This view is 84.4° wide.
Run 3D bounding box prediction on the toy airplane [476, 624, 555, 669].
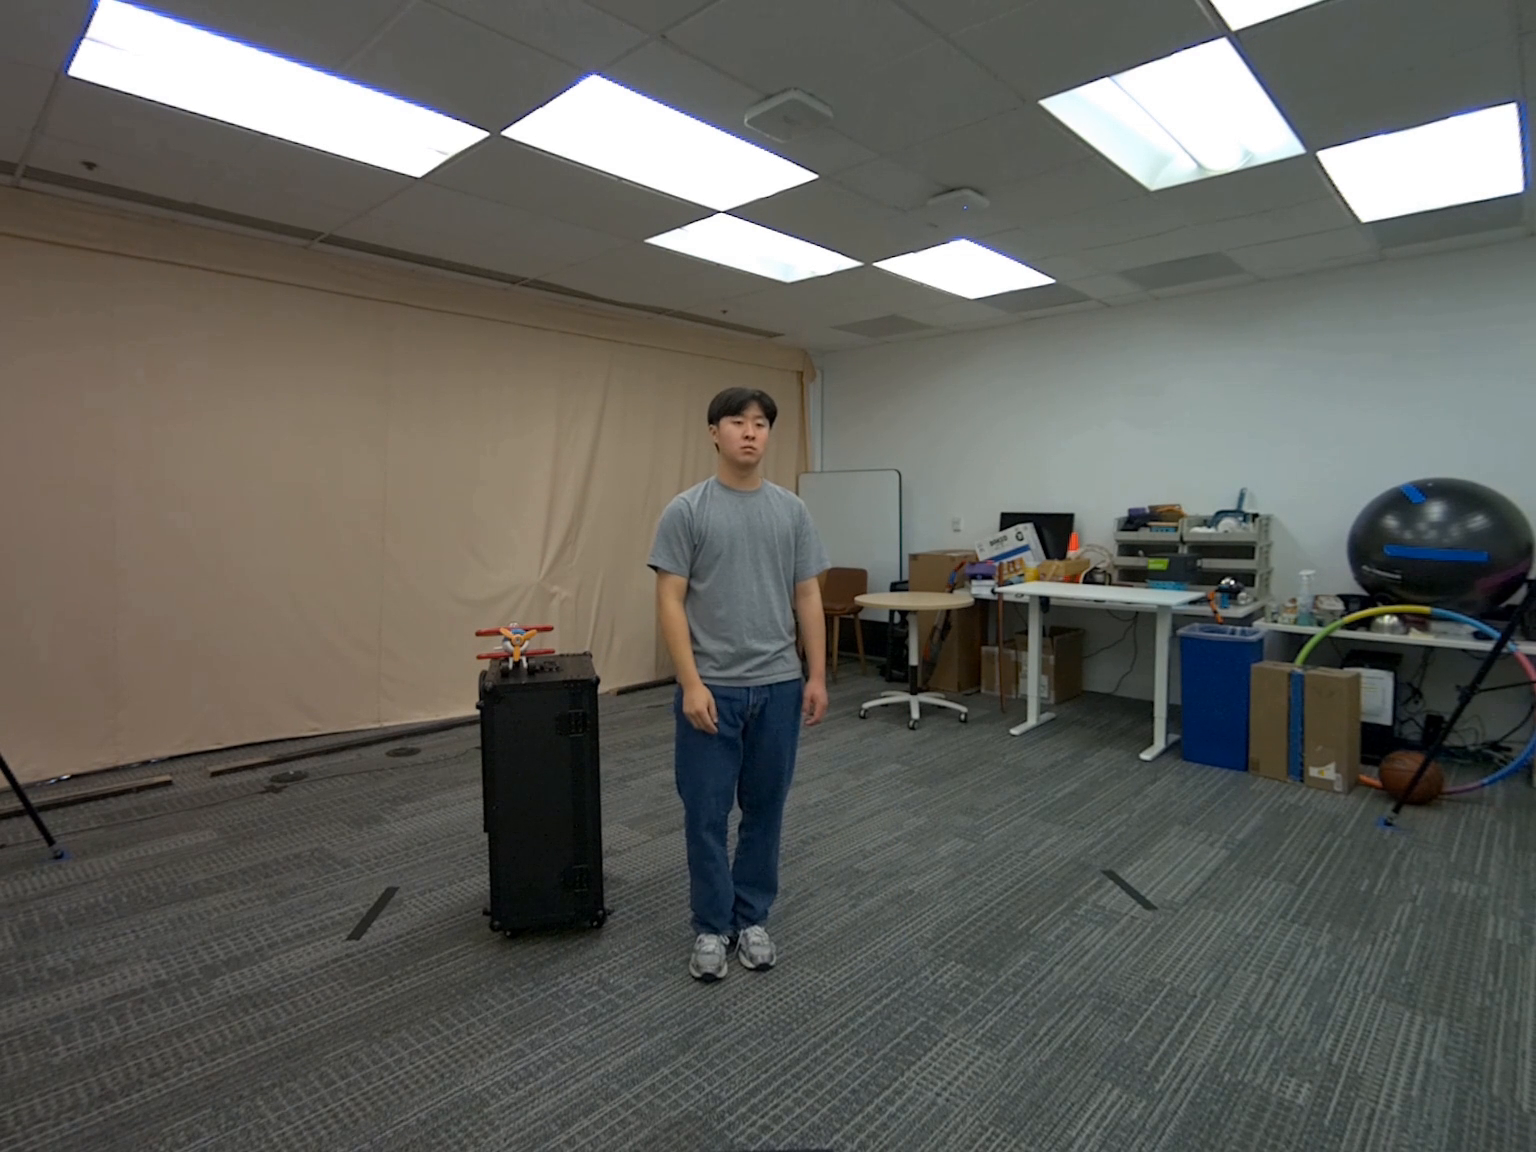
[{"bbox_3d":[-0.866,0.241,2.820,0.268,0.156,0.243,4,6,42],"label":"toy airplane"}]
